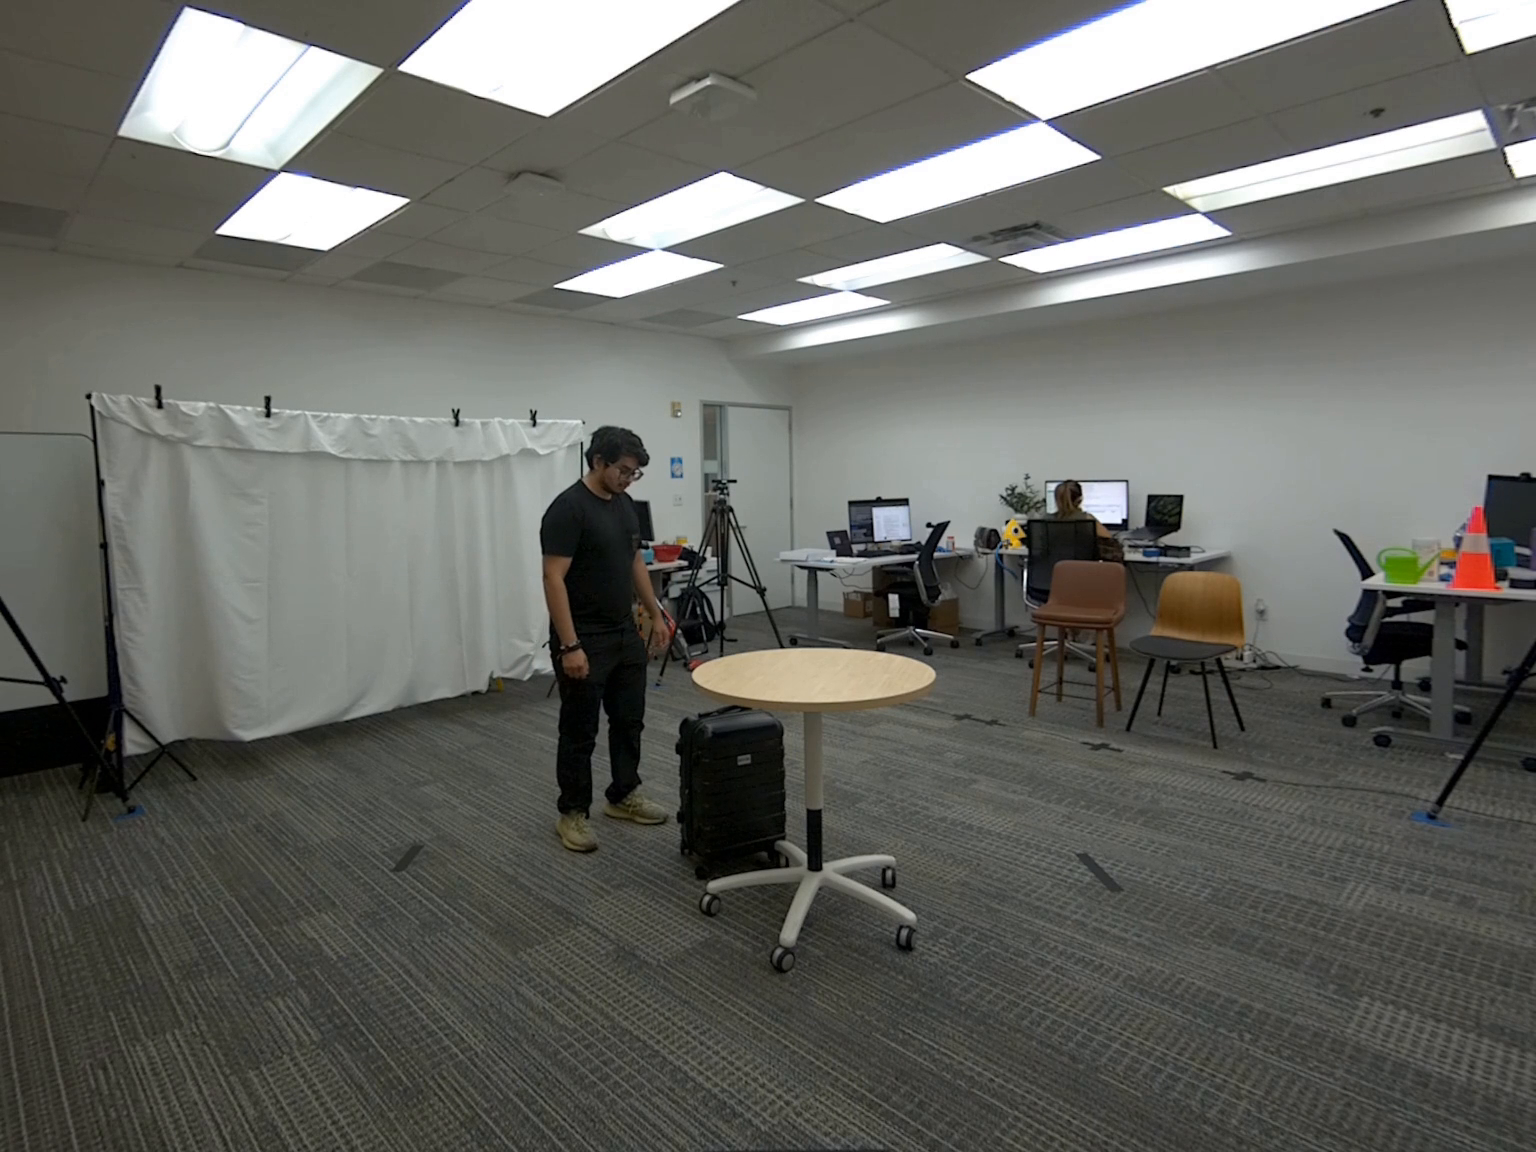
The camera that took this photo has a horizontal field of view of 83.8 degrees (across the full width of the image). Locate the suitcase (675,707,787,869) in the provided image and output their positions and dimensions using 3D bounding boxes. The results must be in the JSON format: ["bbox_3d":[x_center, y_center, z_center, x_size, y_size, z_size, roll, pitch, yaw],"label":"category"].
[{"bbox_3d":[-0.134,0.764,3.138,0.368,0.547,0.254,-4,5,-25],"label":"suitcase"}]
